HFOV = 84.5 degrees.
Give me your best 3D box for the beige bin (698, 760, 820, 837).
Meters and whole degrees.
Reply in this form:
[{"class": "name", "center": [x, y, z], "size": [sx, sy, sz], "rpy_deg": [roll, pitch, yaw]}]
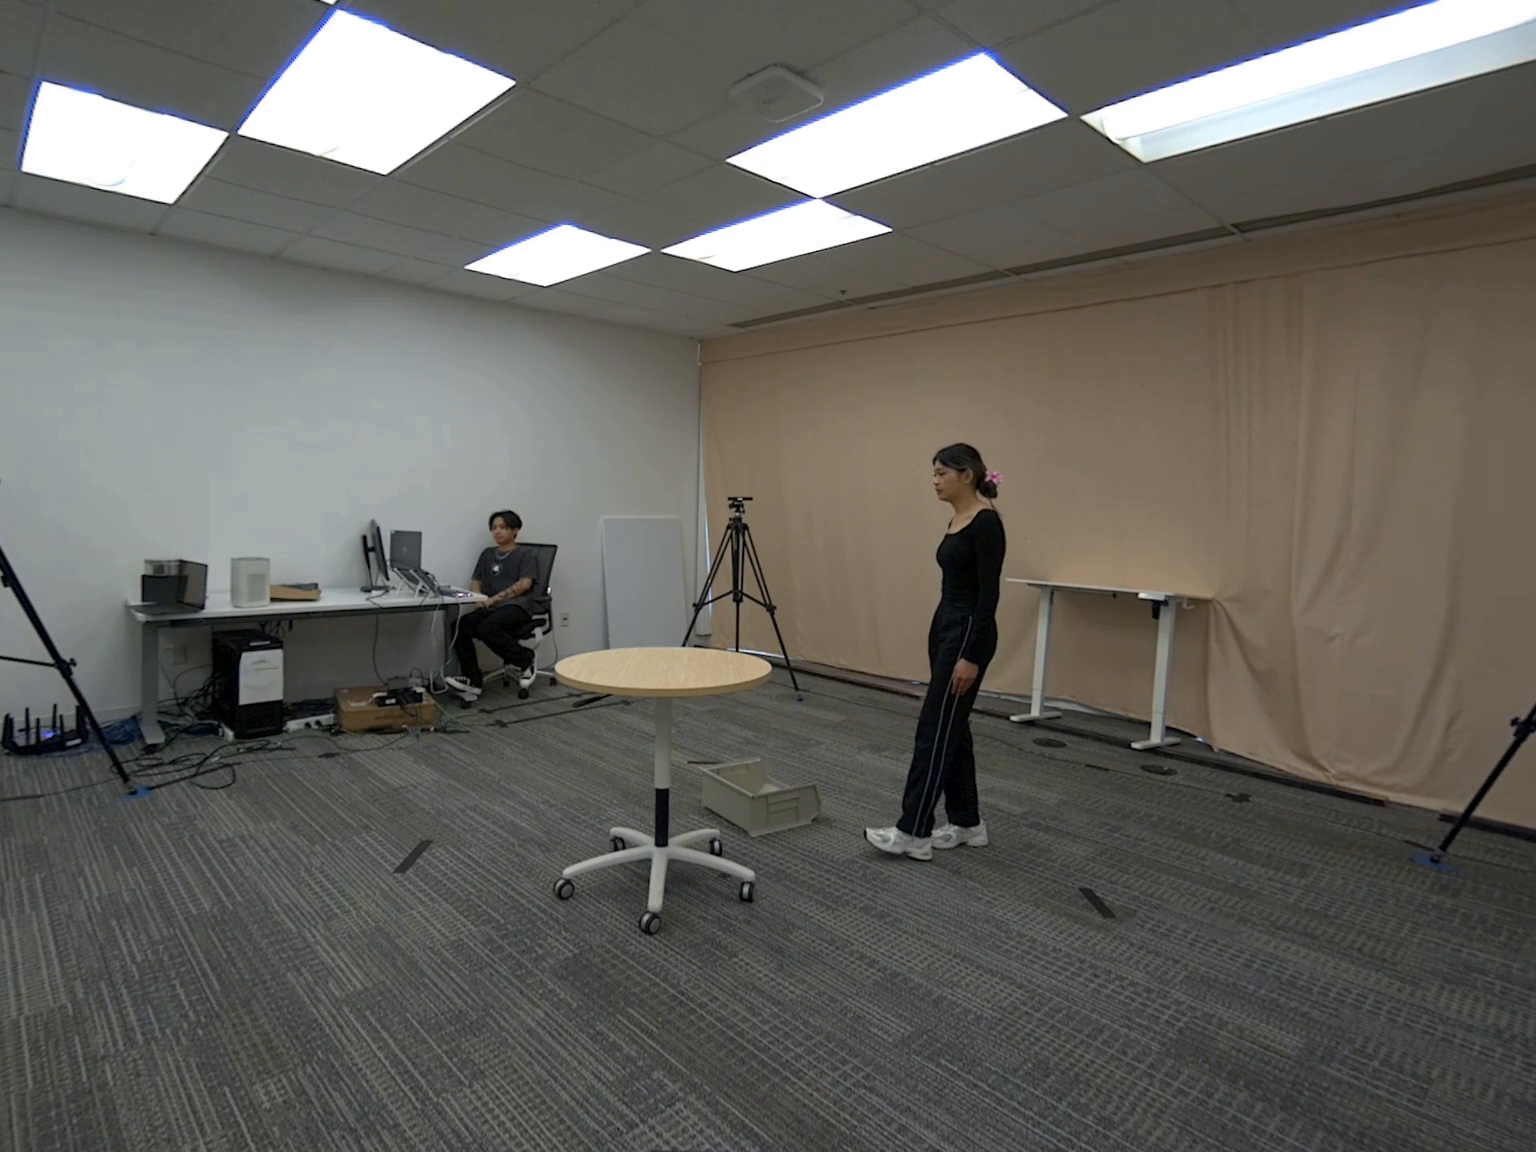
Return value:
[{"class": "beige bin", "center": [-0.049, 0.967, 3.736], "size": [0.369, 0.188, 0.433], "rpy_deg": [-3, 7, -34]}]
